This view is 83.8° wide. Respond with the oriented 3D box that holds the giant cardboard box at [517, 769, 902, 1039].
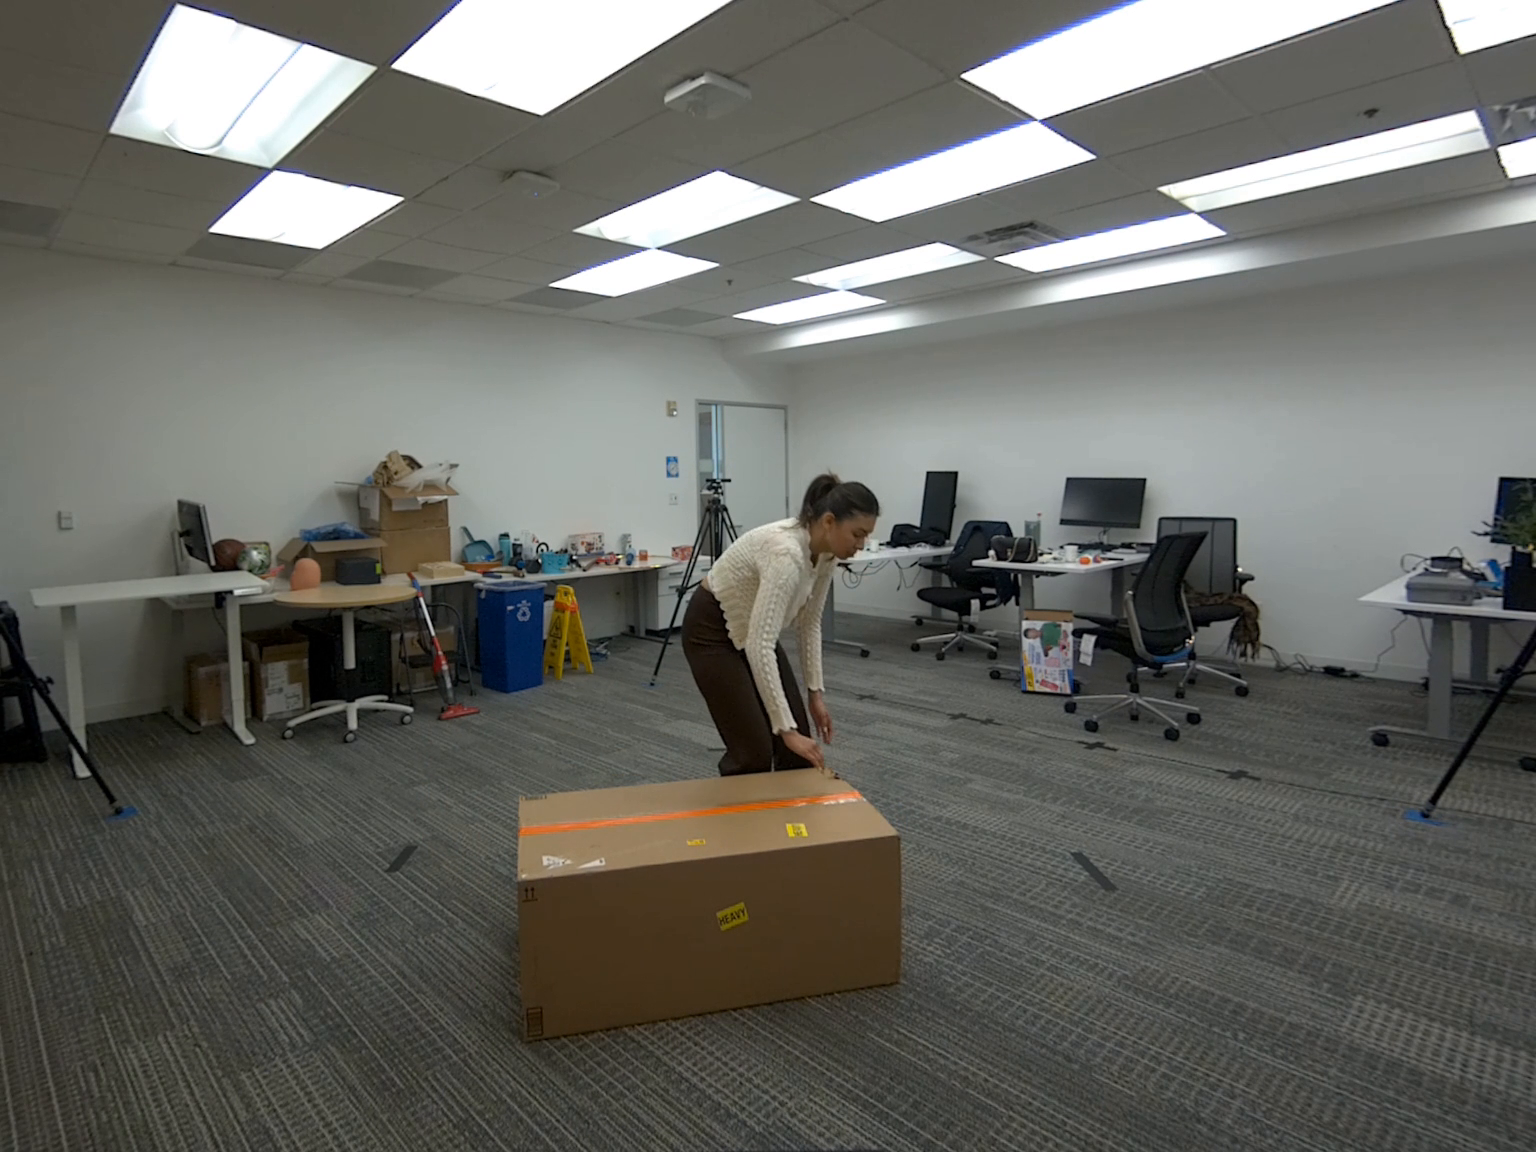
[{"bbox_3d":[-0.206,0.901,2.506,1.013,0.424,0.588,-2,6,-14],"label":"giant cardboard box"}]
